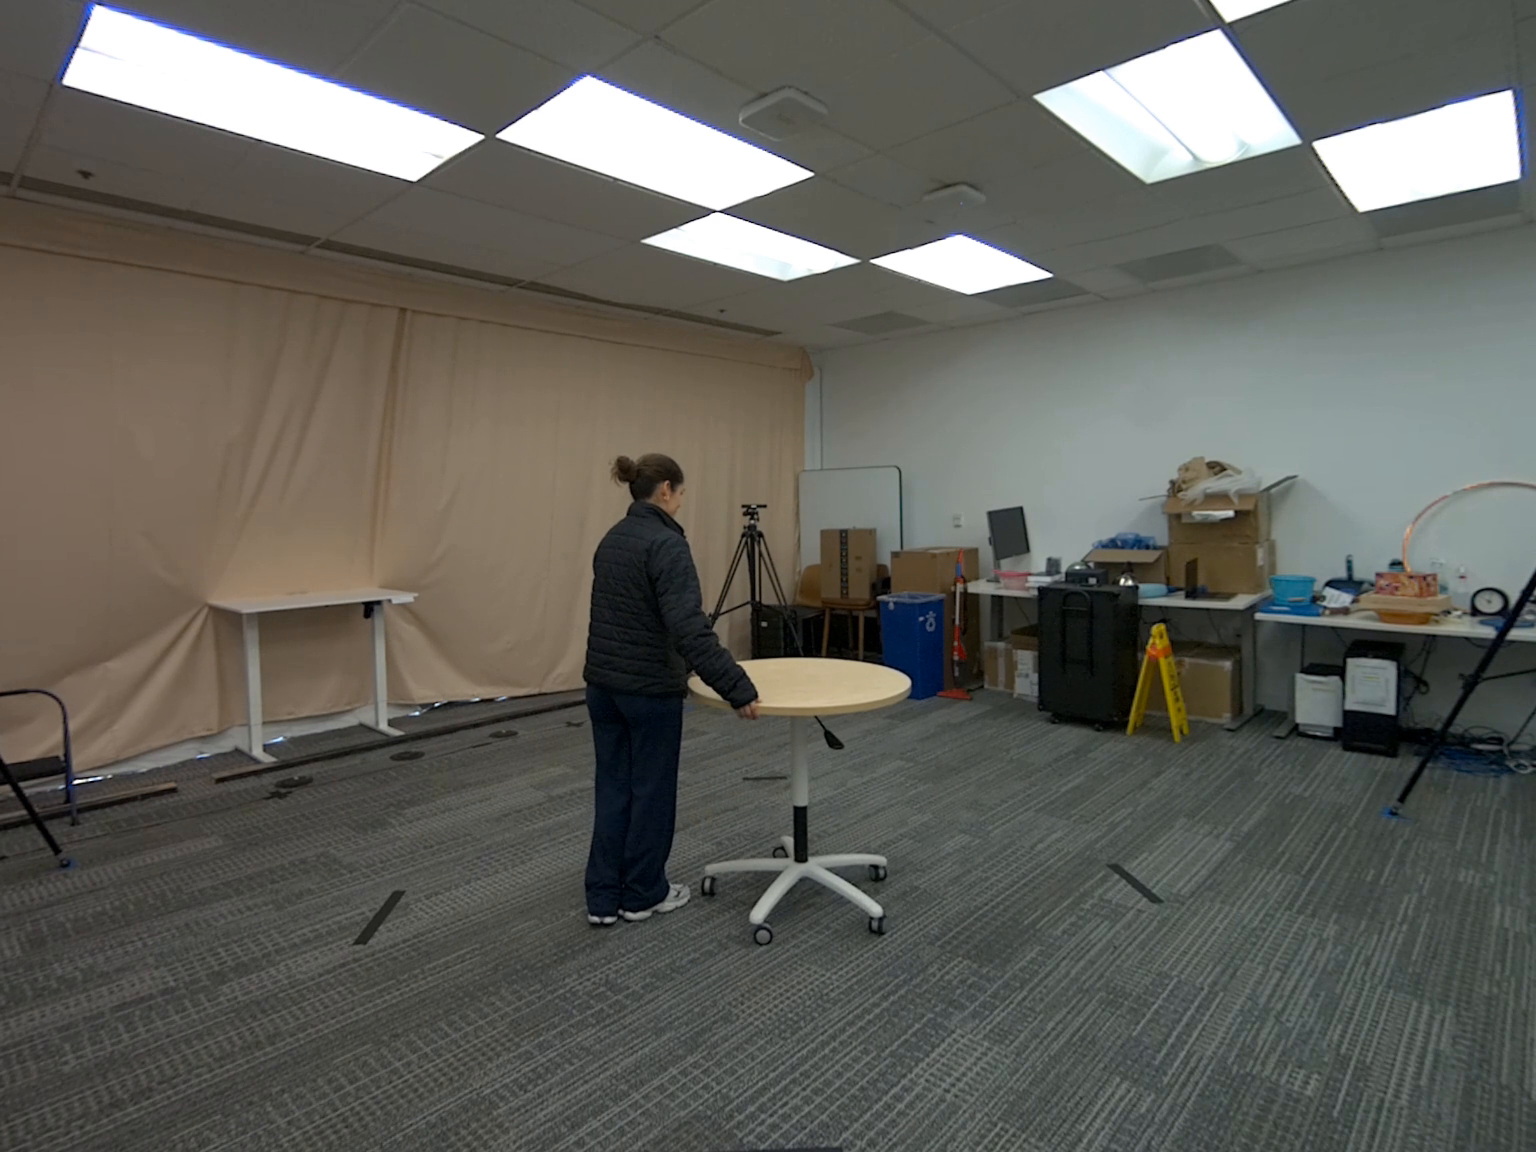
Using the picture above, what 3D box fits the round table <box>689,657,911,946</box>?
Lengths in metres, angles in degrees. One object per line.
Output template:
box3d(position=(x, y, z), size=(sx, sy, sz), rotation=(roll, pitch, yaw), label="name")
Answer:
box3d(position=(0.122, 0.749, 2.930), size=(0.784, 0.784, 0.788), rotation=(-2, 4, -2), label="round table")
